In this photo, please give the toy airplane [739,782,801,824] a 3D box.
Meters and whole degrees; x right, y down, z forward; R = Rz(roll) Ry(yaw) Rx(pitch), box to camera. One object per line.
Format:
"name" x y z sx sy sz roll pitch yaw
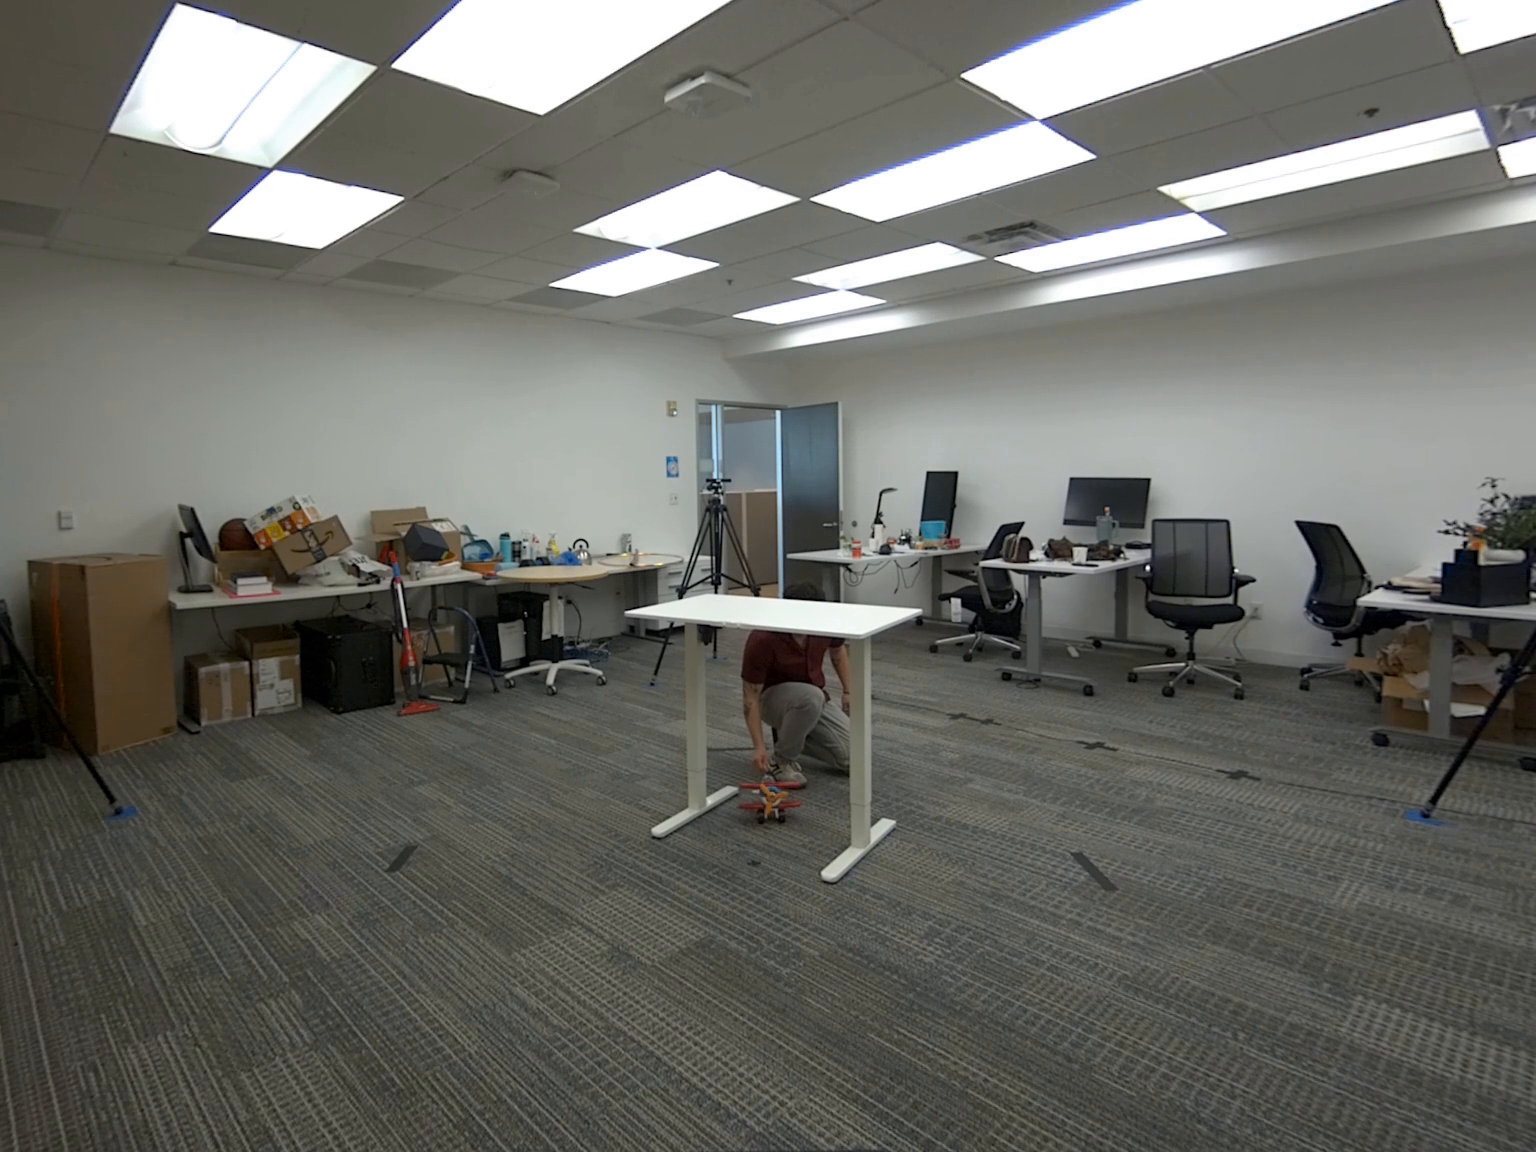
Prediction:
"toy airplane" -0.022 0.920 3.552 0.245 0.156 0.267 -2 7 -34
